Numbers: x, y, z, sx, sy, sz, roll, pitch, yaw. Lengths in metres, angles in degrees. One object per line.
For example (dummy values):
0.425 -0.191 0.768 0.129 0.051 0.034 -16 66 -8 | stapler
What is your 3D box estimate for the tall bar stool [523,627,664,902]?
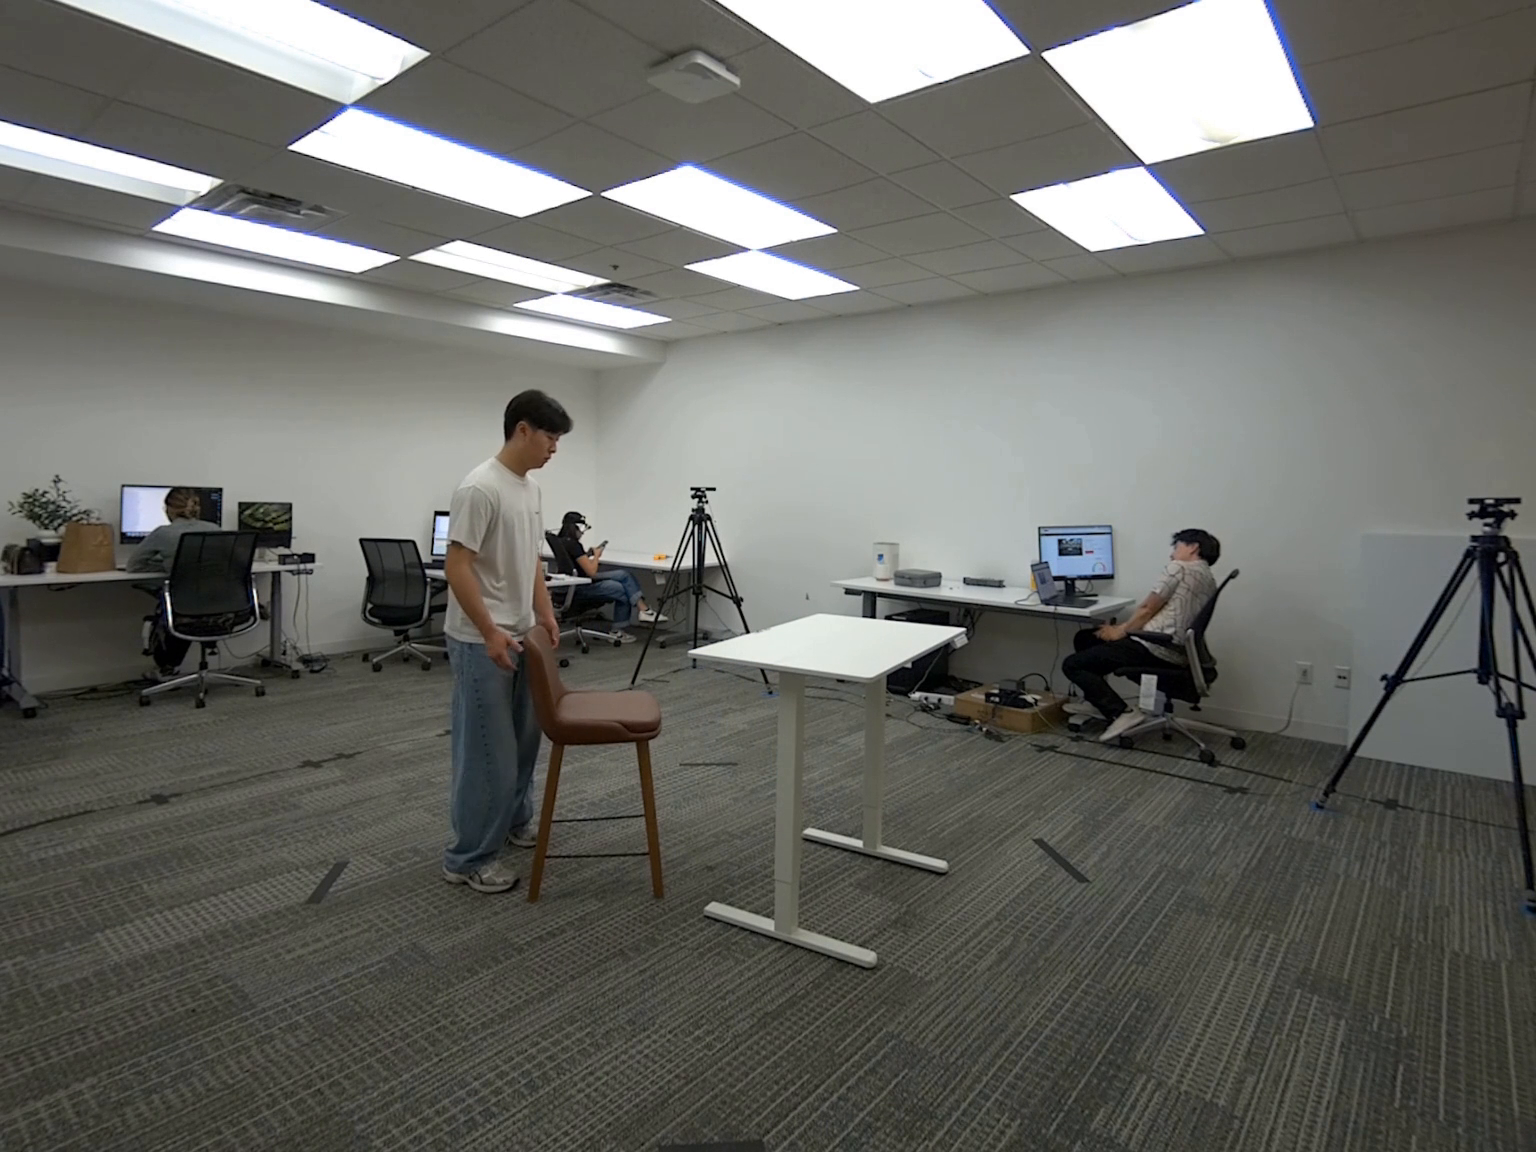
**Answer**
-0.624 0.629 3.022 0.463 0.887 0.462 -2 3 -10 | tall bar stool
